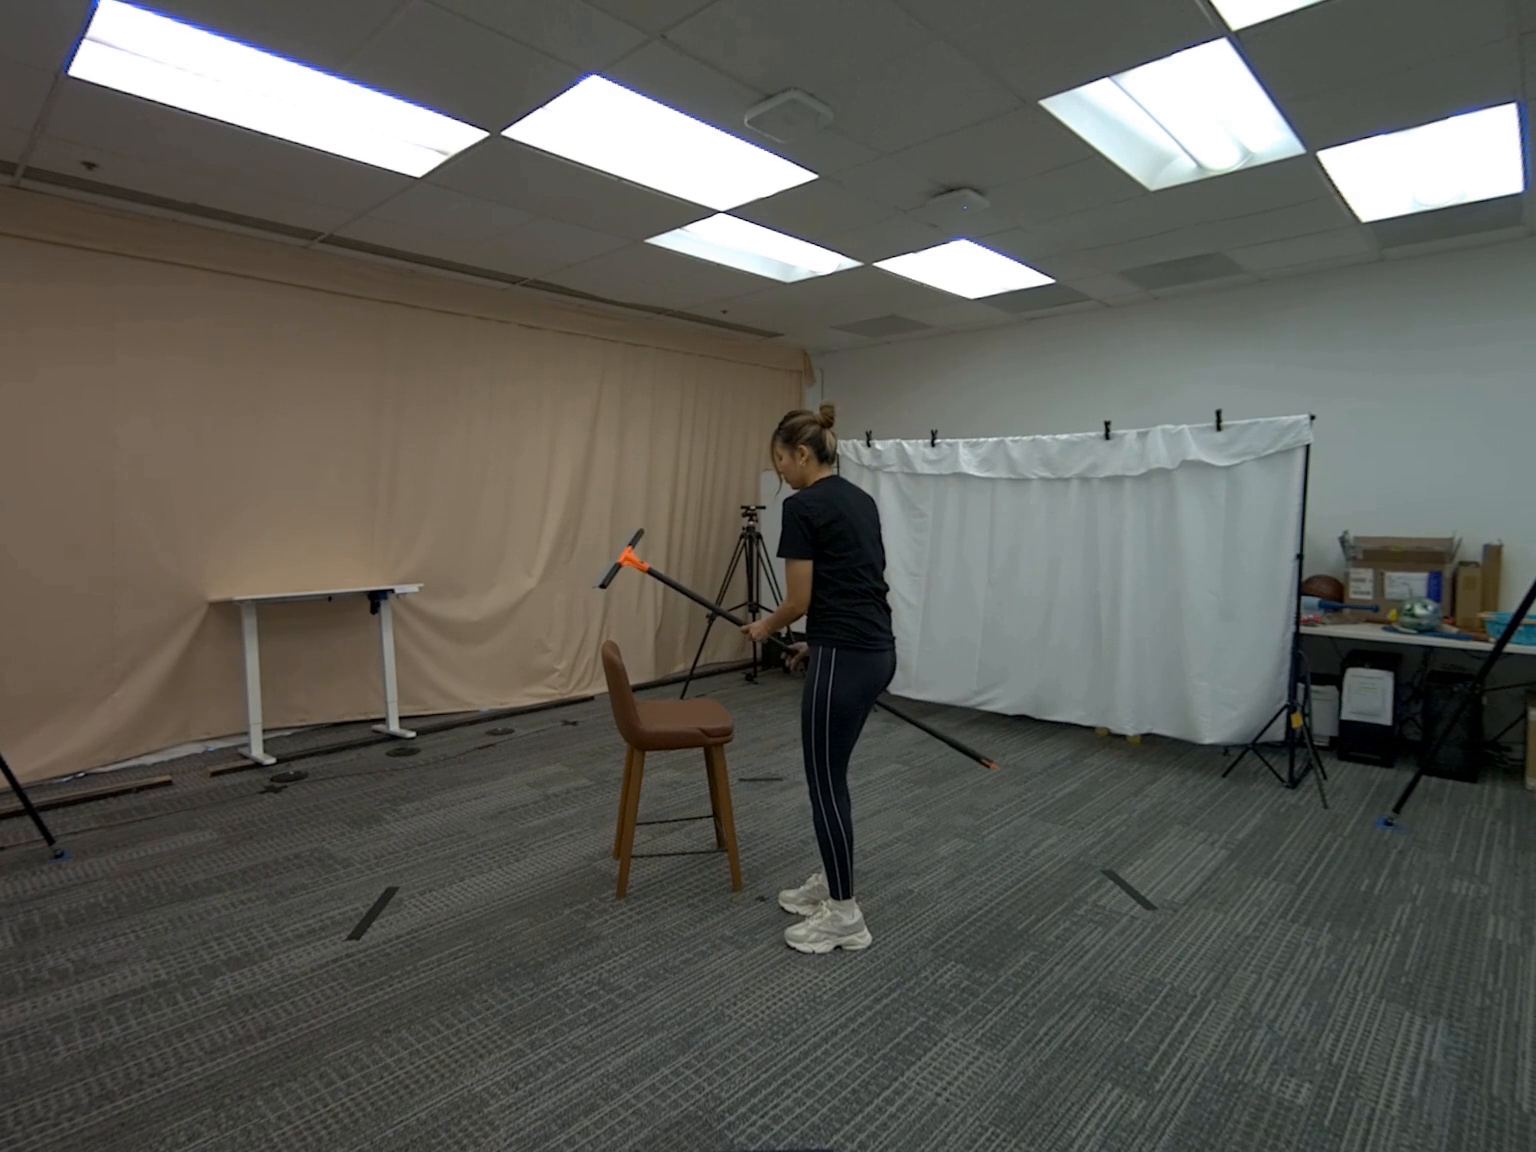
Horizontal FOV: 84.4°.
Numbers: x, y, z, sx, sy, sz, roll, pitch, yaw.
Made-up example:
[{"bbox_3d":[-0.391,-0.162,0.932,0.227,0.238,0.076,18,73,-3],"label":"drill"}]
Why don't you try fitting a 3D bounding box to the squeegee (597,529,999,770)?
[{"bbox_3d":[0.155,0.325,2.949,1.537,0.053,0.437,31,32,0],"label":"squeegee"}]
